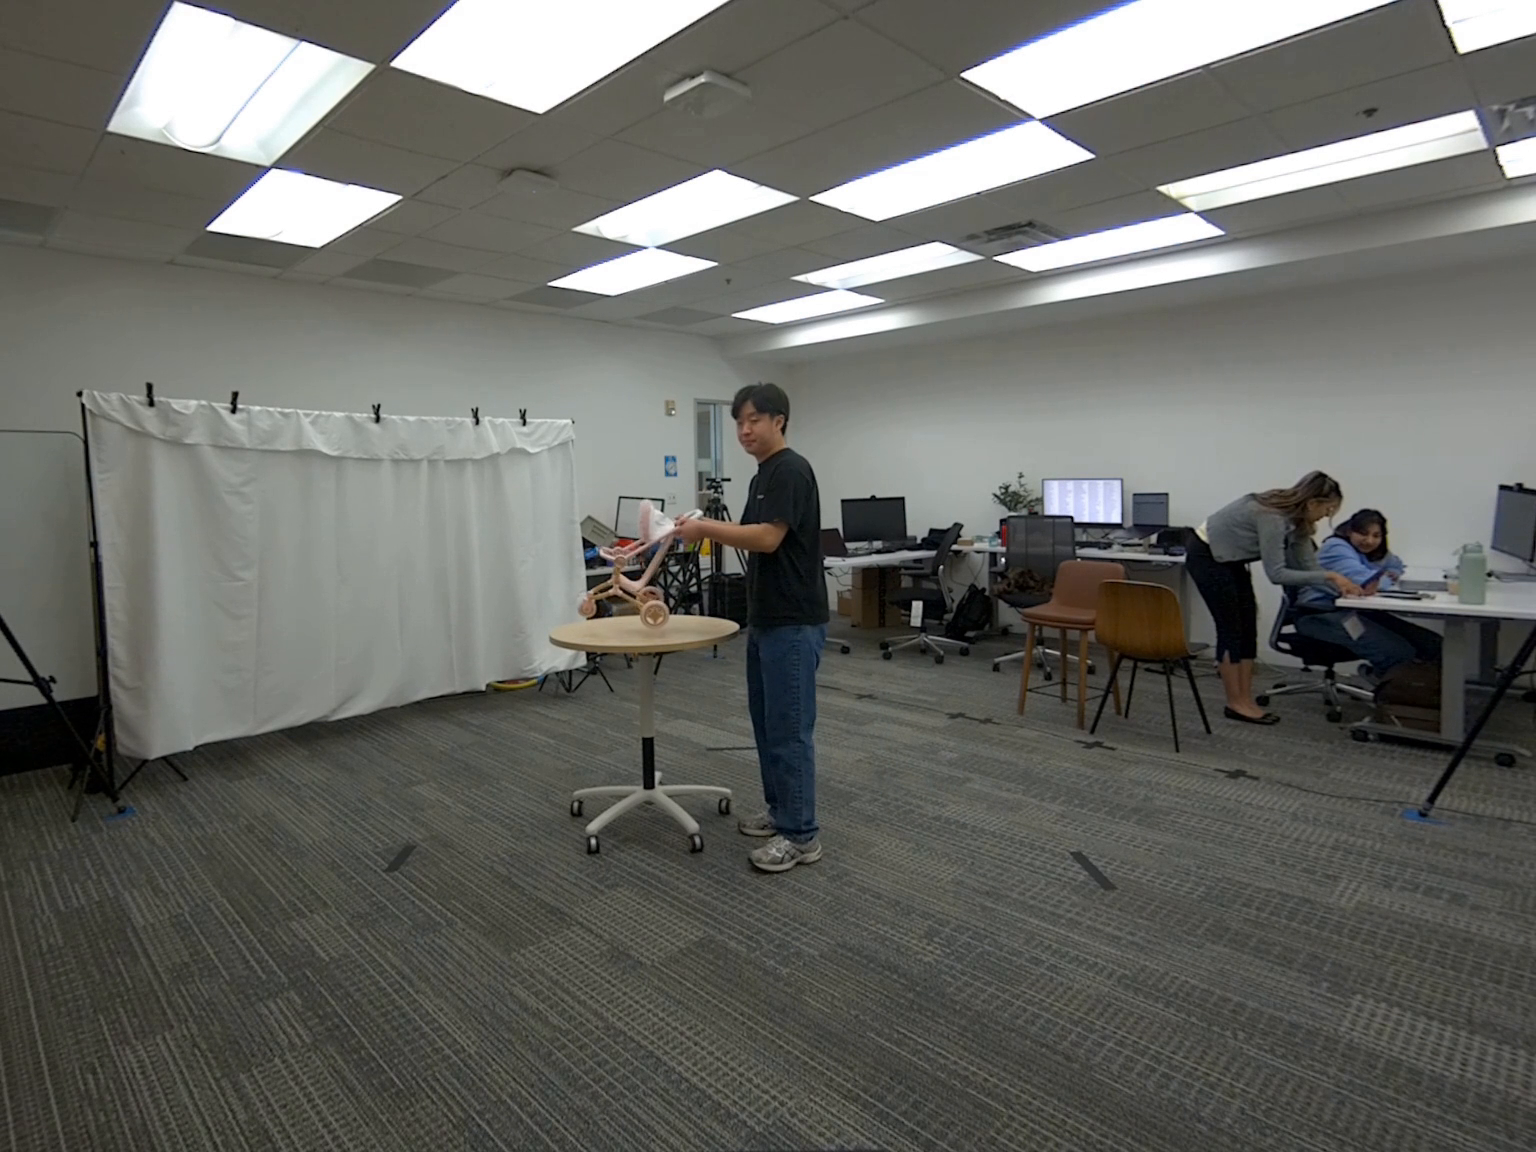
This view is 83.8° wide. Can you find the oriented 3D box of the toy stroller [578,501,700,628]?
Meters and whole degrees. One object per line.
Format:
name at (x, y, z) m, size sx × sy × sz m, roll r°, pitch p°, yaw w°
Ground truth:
toy stroller at (-0.496, -0.052, 3.285) m, size 0.338 × 0.533 × 0.285 m, roll 19°, pitch 6°, yaw -7°
